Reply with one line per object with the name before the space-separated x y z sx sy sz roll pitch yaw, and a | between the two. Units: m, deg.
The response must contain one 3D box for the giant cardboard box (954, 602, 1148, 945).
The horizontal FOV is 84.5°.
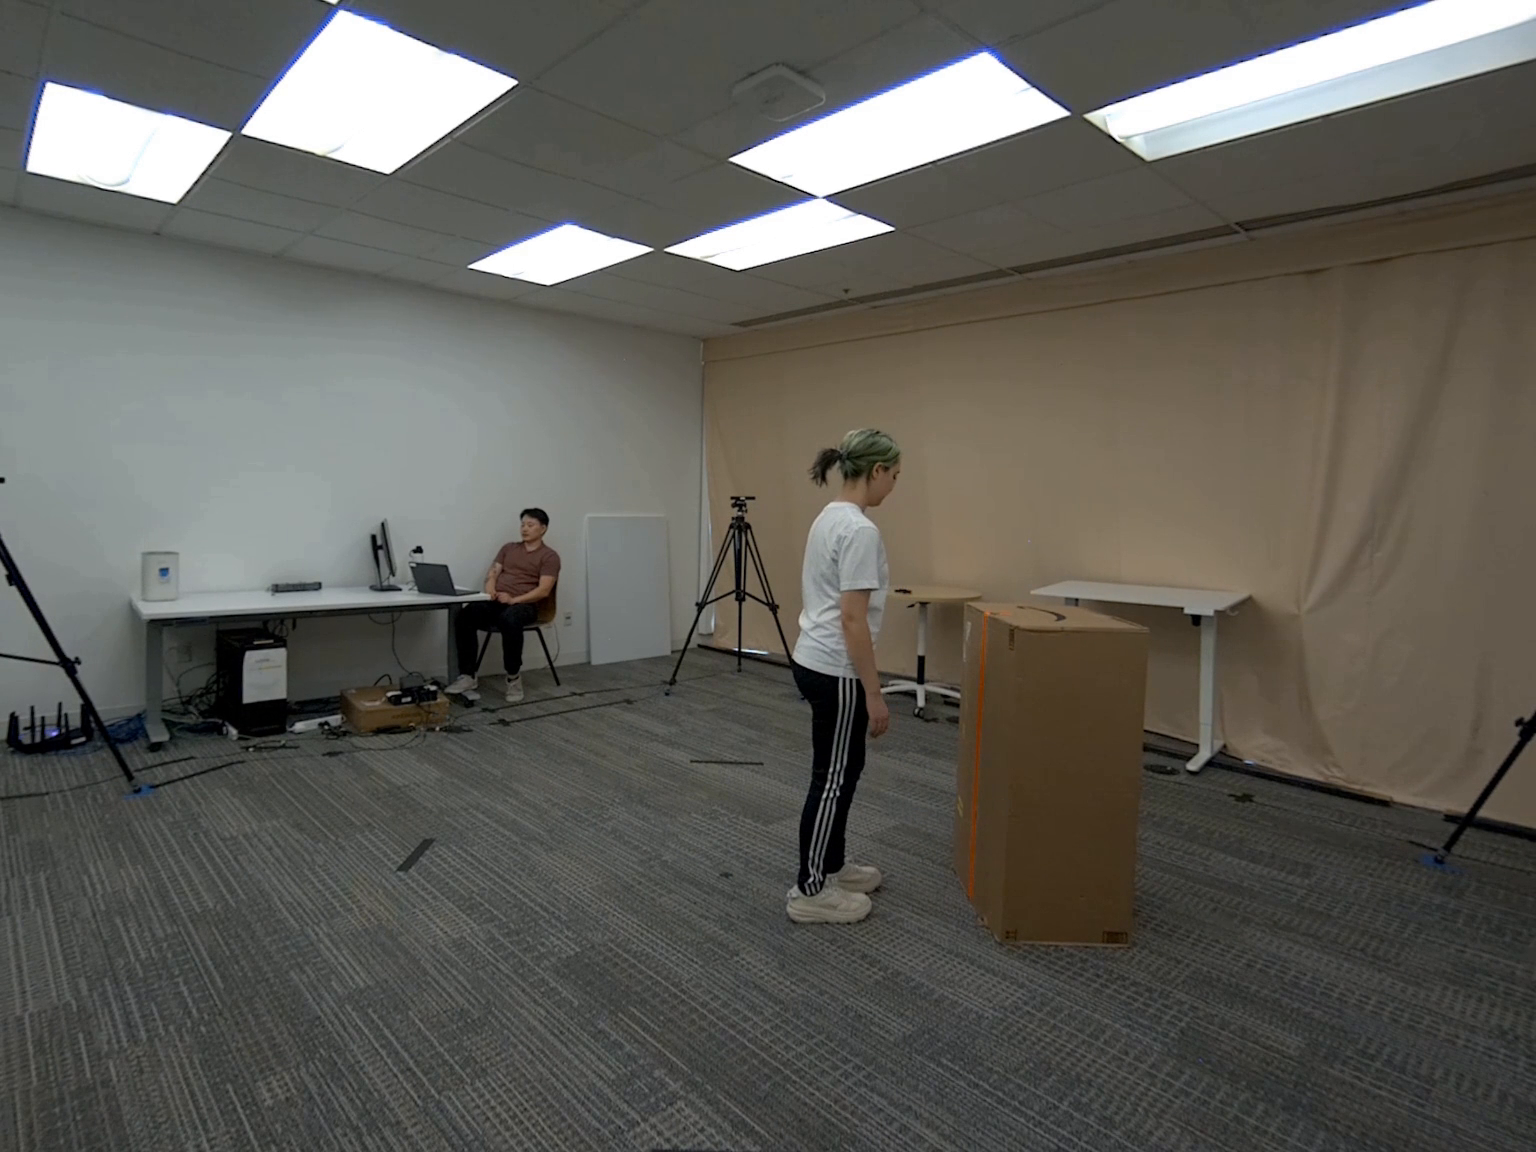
giant cardboard box | 0.936 0.642 2.922 0.446 1.024 0.586 2 4 -2
